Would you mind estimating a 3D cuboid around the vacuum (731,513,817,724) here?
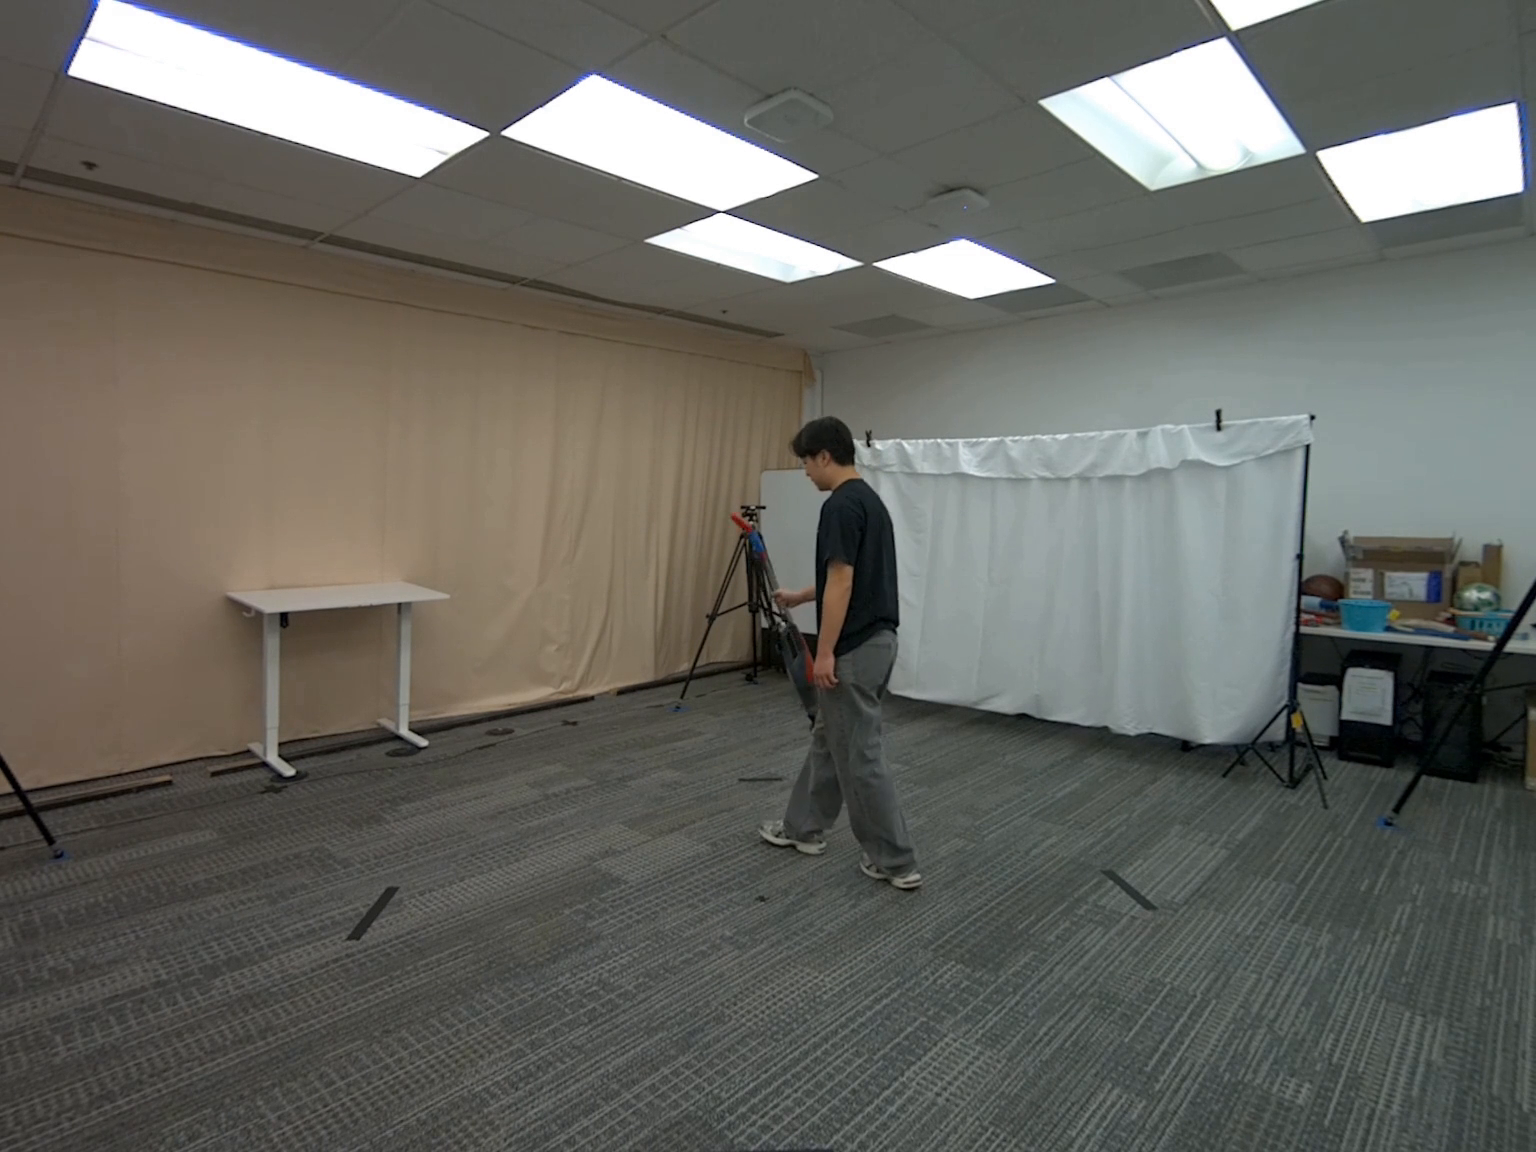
[{"bbox_3d":[0.069,0.219,3.562,0.143,1.040,0.256,-24,9,-7],"label":"vacuum"}]
